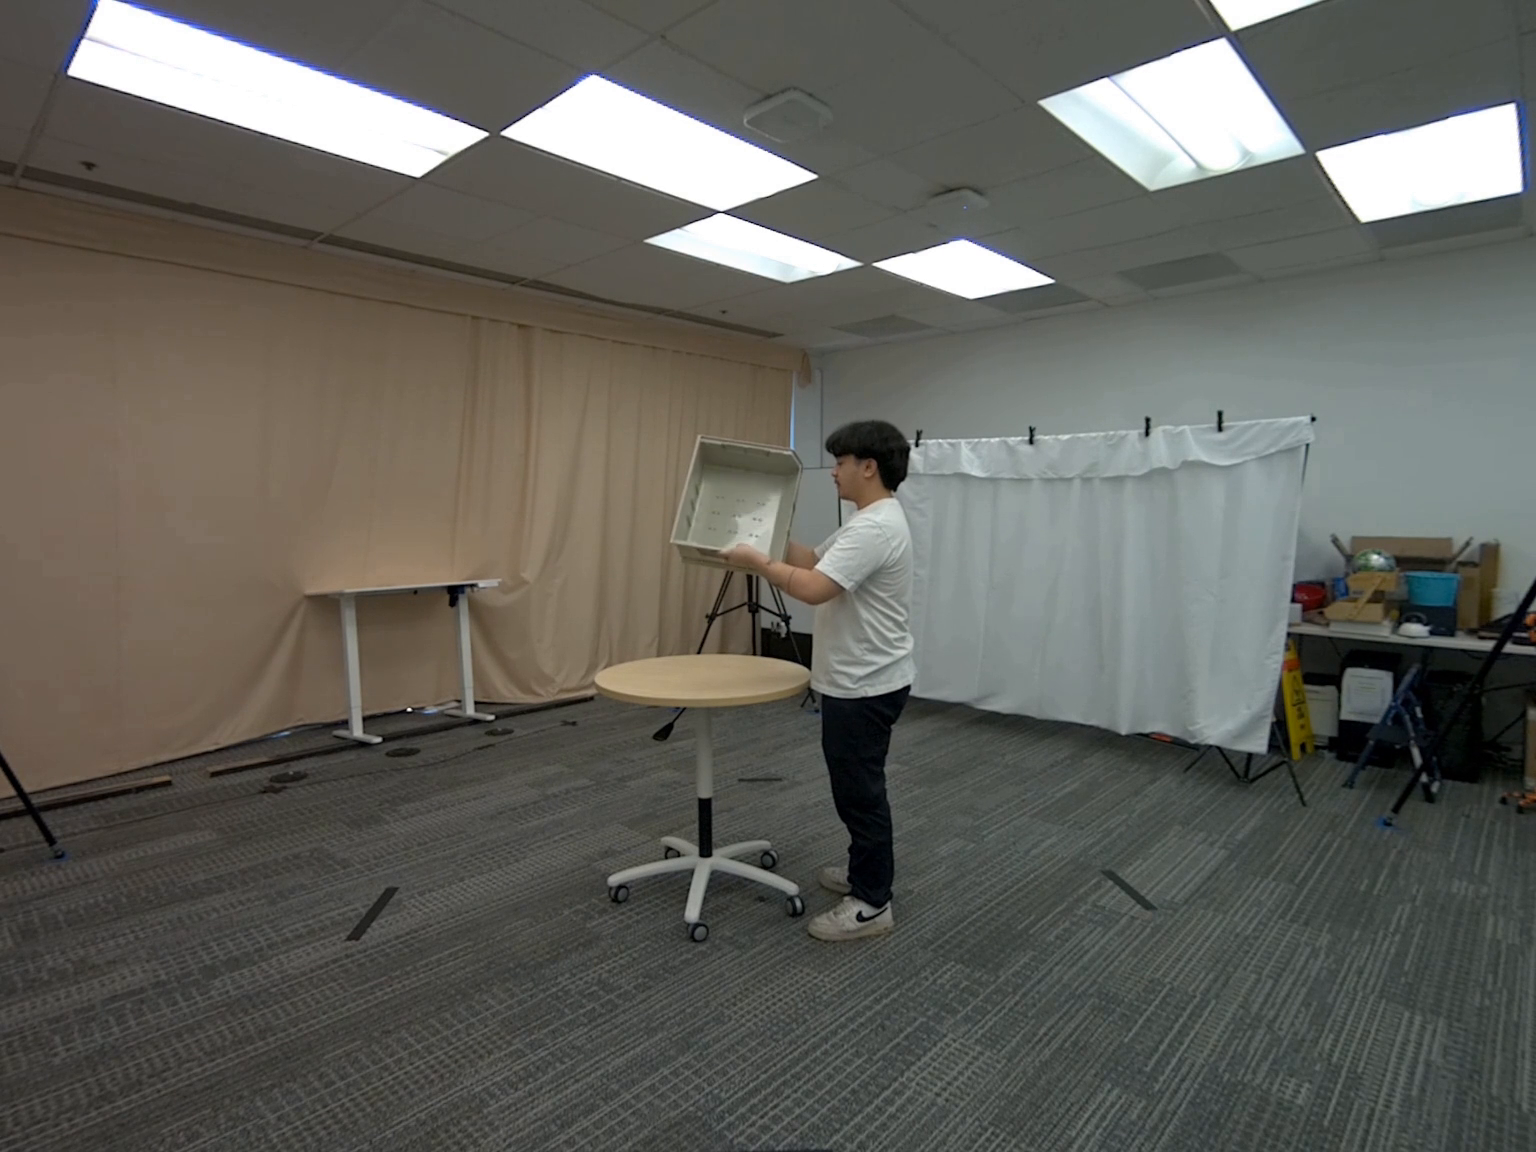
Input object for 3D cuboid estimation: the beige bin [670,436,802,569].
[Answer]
[{"bbox_3d":[-0.095,-0.243,2.937,0.383,0.425,0.185,8,-21,12],"label":"beige bin"}]
